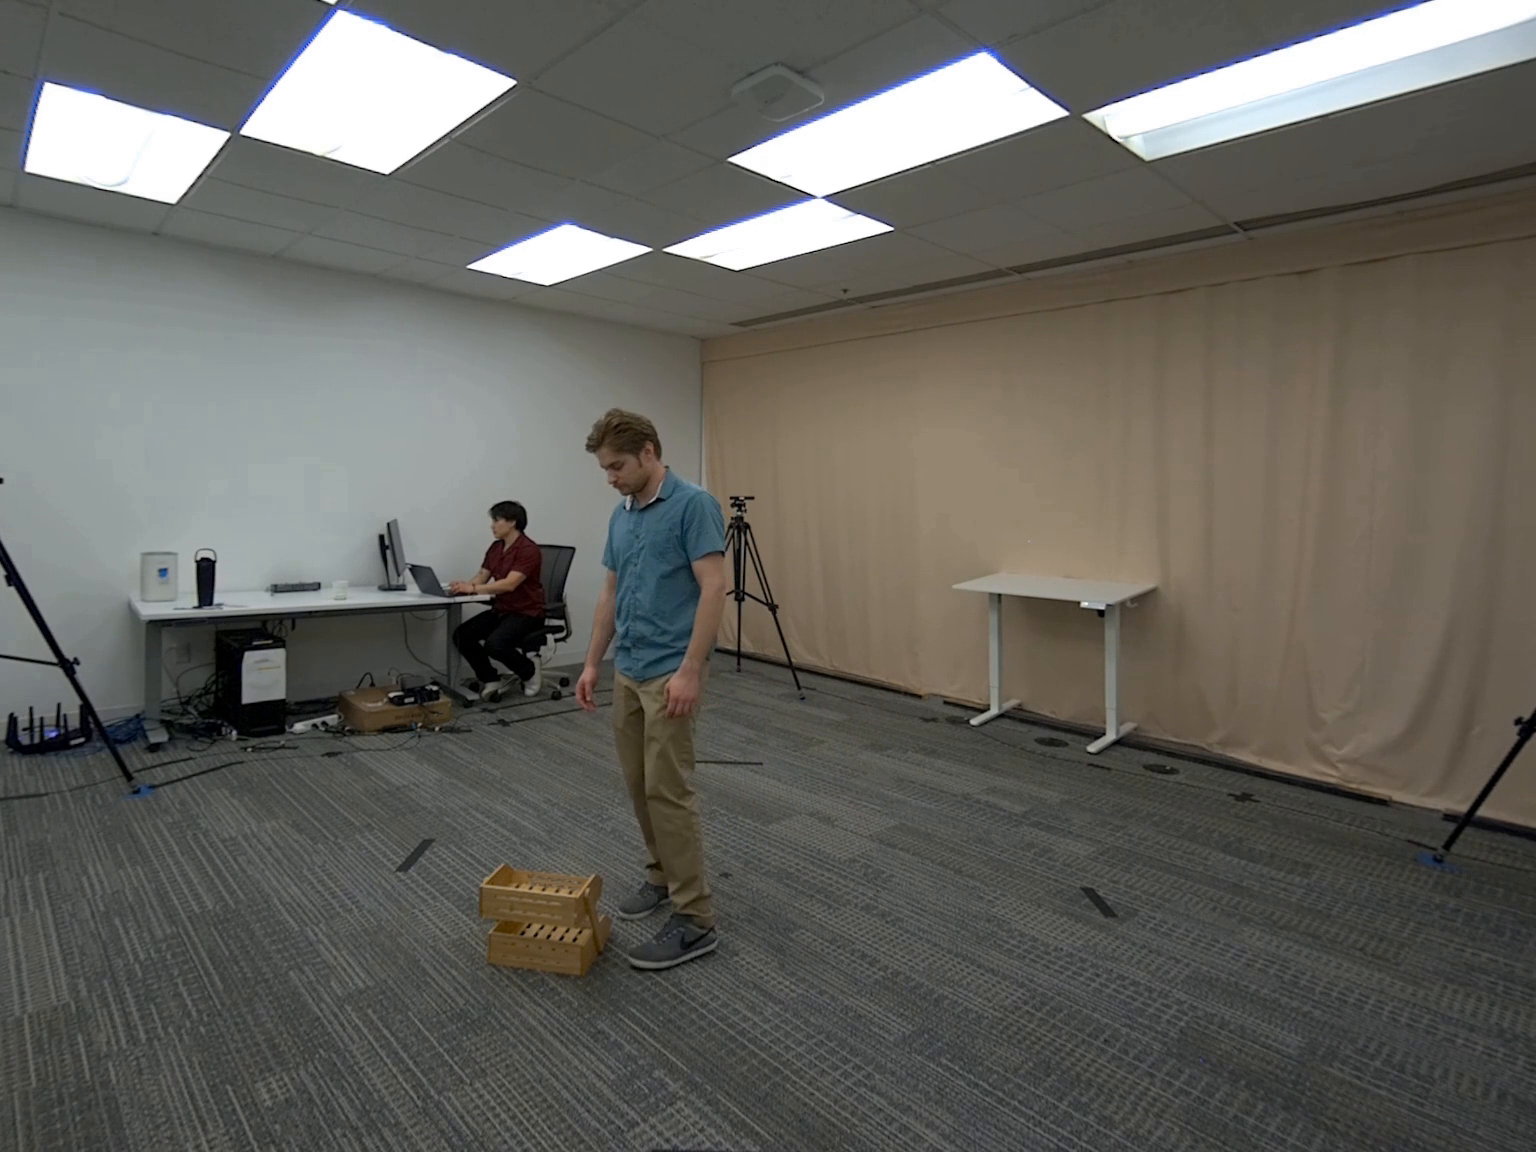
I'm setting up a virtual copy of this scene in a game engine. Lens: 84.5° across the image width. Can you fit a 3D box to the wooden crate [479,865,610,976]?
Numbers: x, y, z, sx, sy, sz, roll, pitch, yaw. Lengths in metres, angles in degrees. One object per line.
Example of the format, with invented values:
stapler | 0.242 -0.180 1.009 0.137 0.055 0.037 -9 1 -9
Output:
wooden crate | -0.670 1.009 2.550 0.327 0.272 0.301 2 5 9
